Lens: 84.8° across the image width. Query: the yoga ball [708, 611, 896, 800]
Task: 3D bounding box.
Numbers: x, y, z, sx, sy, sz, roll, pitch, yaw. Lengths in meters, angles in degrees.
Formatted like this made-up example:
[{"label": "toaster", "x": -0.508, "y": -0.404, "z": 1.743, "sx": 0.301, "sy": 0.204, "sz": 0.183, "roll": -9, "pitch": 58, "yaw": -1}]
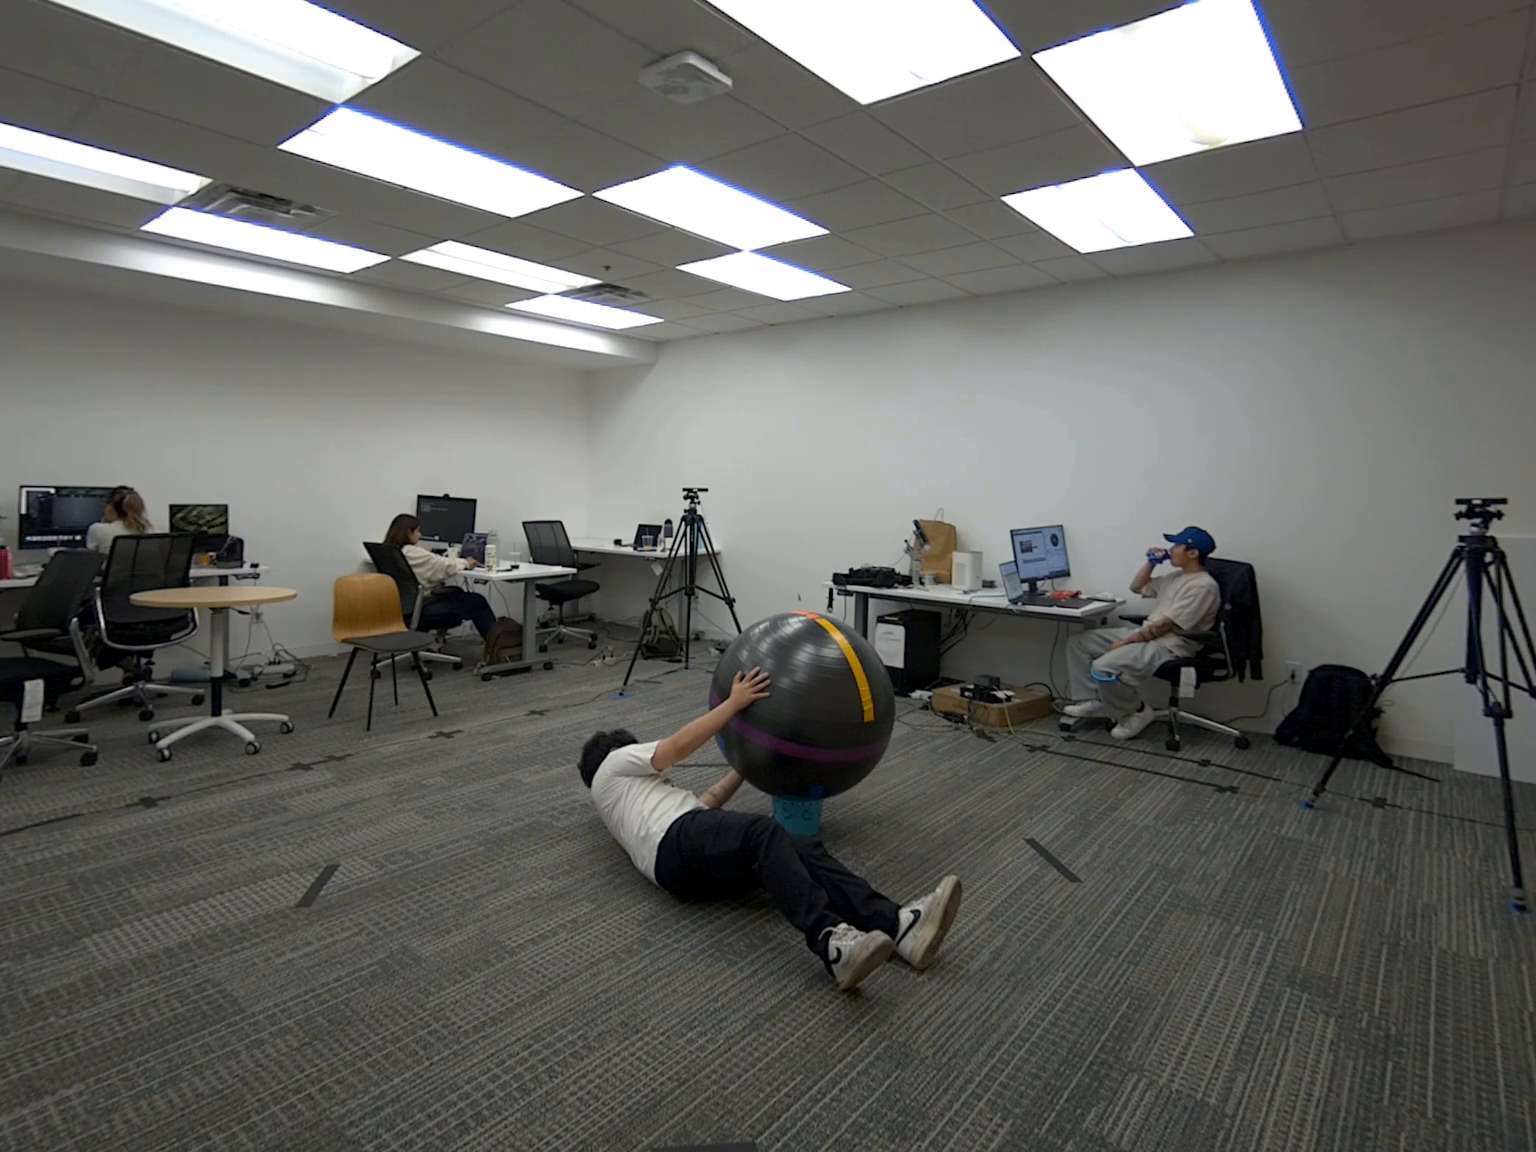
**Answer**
[{"label": "yoga ball", "x": 0.135, "y": 0.525, "z": 3.493, "sx": 0.757, "sy": 0.756, "sz": 0.761, "roll": 1, "pitch": 4, "yaw": -2}]
